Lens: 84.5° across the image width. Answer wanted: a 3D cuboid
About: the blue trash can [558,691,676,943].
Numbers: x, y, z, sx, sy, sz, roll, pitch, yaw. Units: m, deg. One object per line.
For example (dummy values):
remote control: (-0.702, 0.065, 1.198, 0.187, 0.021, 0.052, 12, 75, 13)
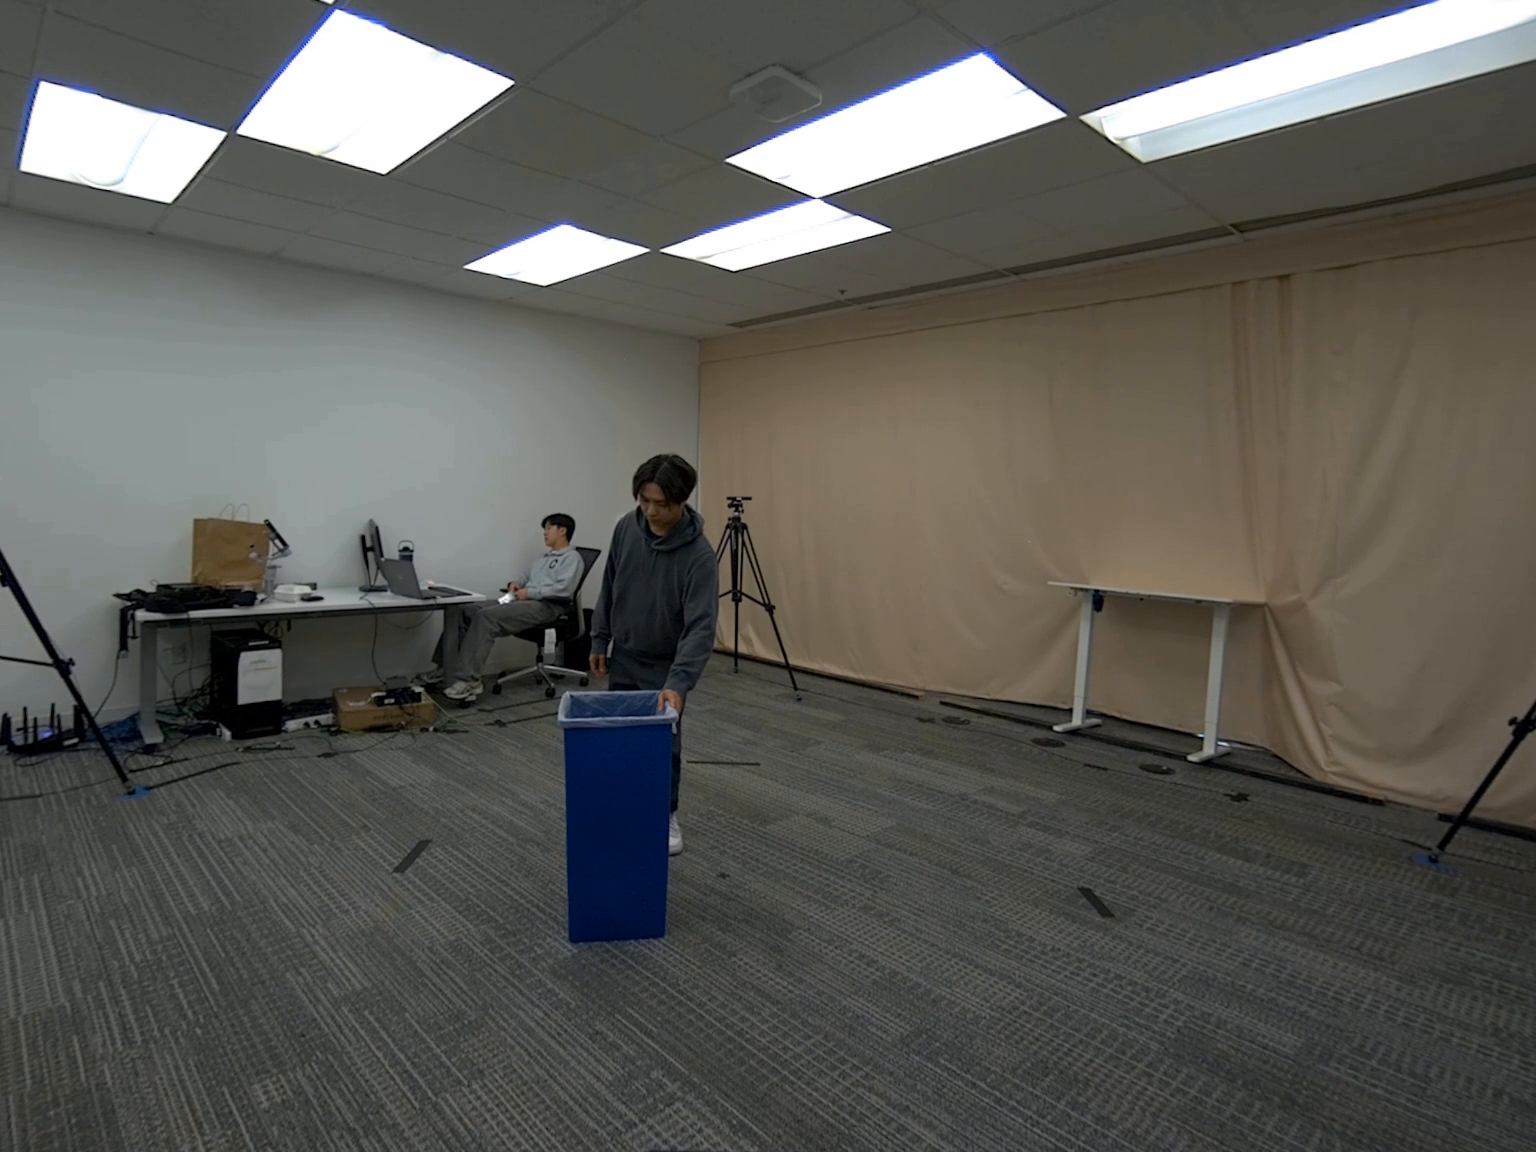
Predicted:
blue trash can: (-0.508, 0.778, 2.754, 0.371, 0.712, 0.382, 1, 4, -10)
